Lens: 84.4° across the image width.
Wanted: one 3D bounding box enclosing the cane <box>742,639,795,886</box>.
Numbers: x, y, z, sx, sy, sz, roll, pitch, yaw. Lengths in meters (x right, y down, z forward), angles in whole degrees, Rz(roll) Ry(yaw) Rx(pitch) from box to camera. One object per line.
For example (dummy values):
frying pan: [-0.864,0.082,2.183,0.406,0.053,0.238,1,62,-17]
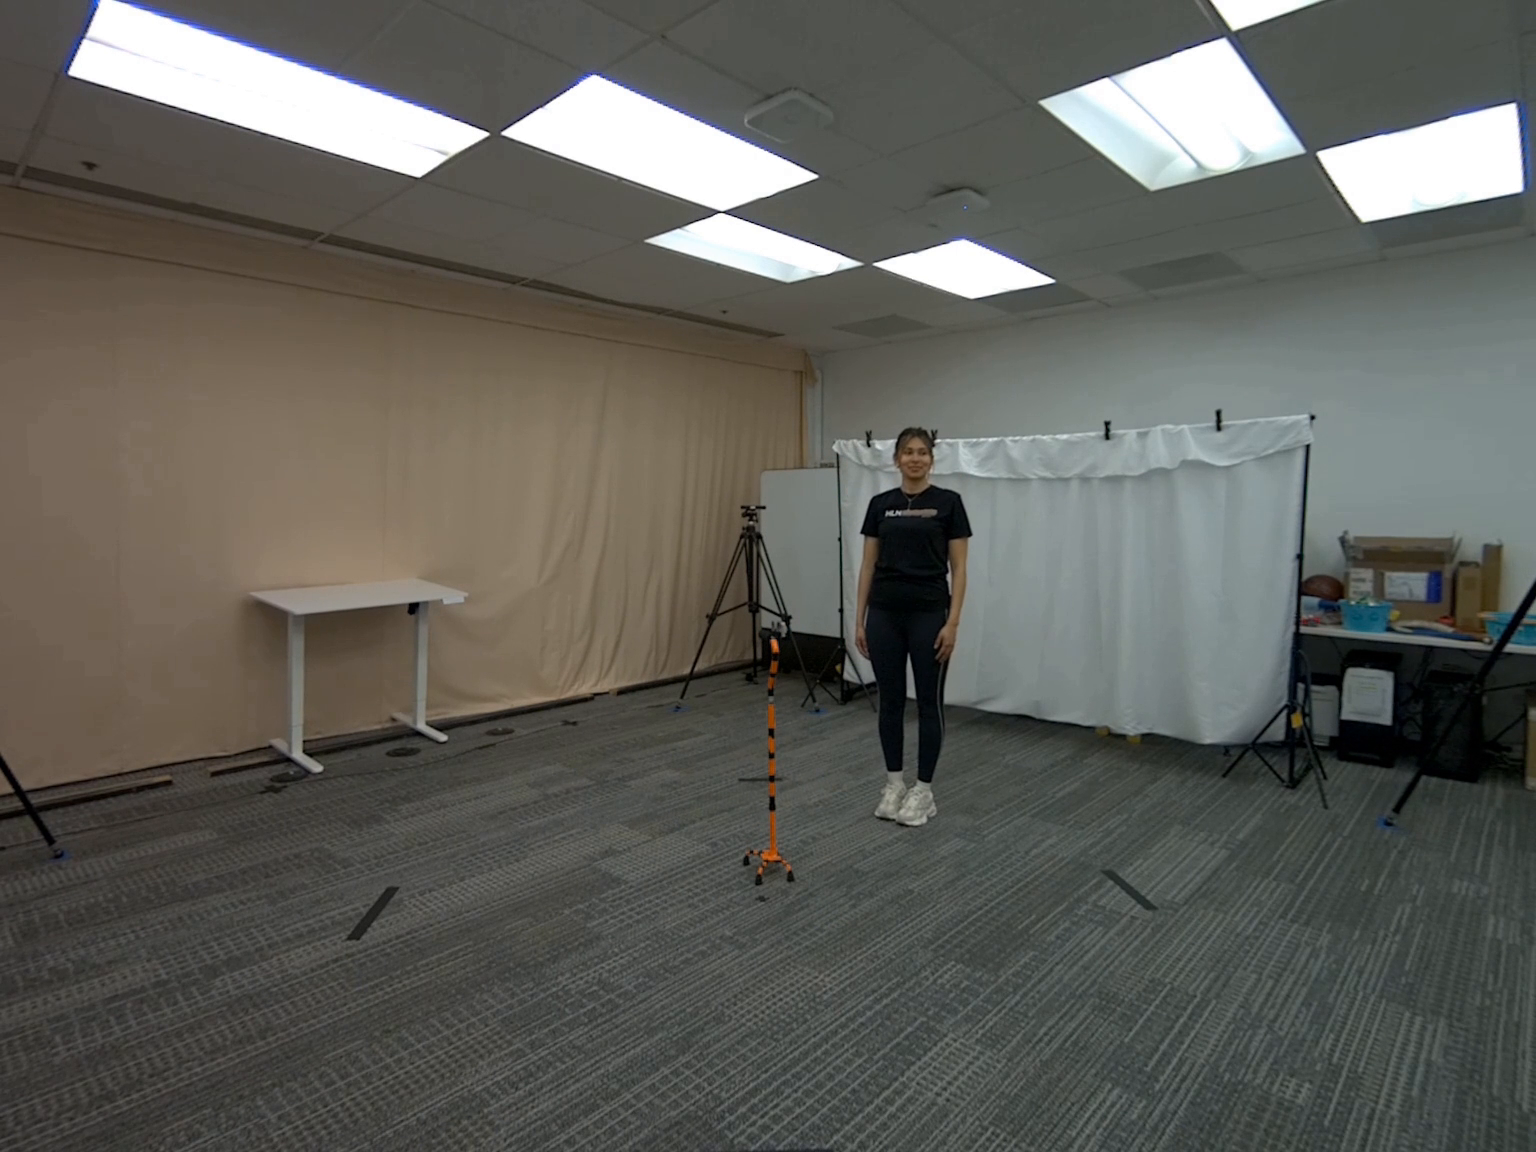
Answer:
cane: [0.003,0.674,3.177,0.149,0.906,0.210,-1,3,-16]
